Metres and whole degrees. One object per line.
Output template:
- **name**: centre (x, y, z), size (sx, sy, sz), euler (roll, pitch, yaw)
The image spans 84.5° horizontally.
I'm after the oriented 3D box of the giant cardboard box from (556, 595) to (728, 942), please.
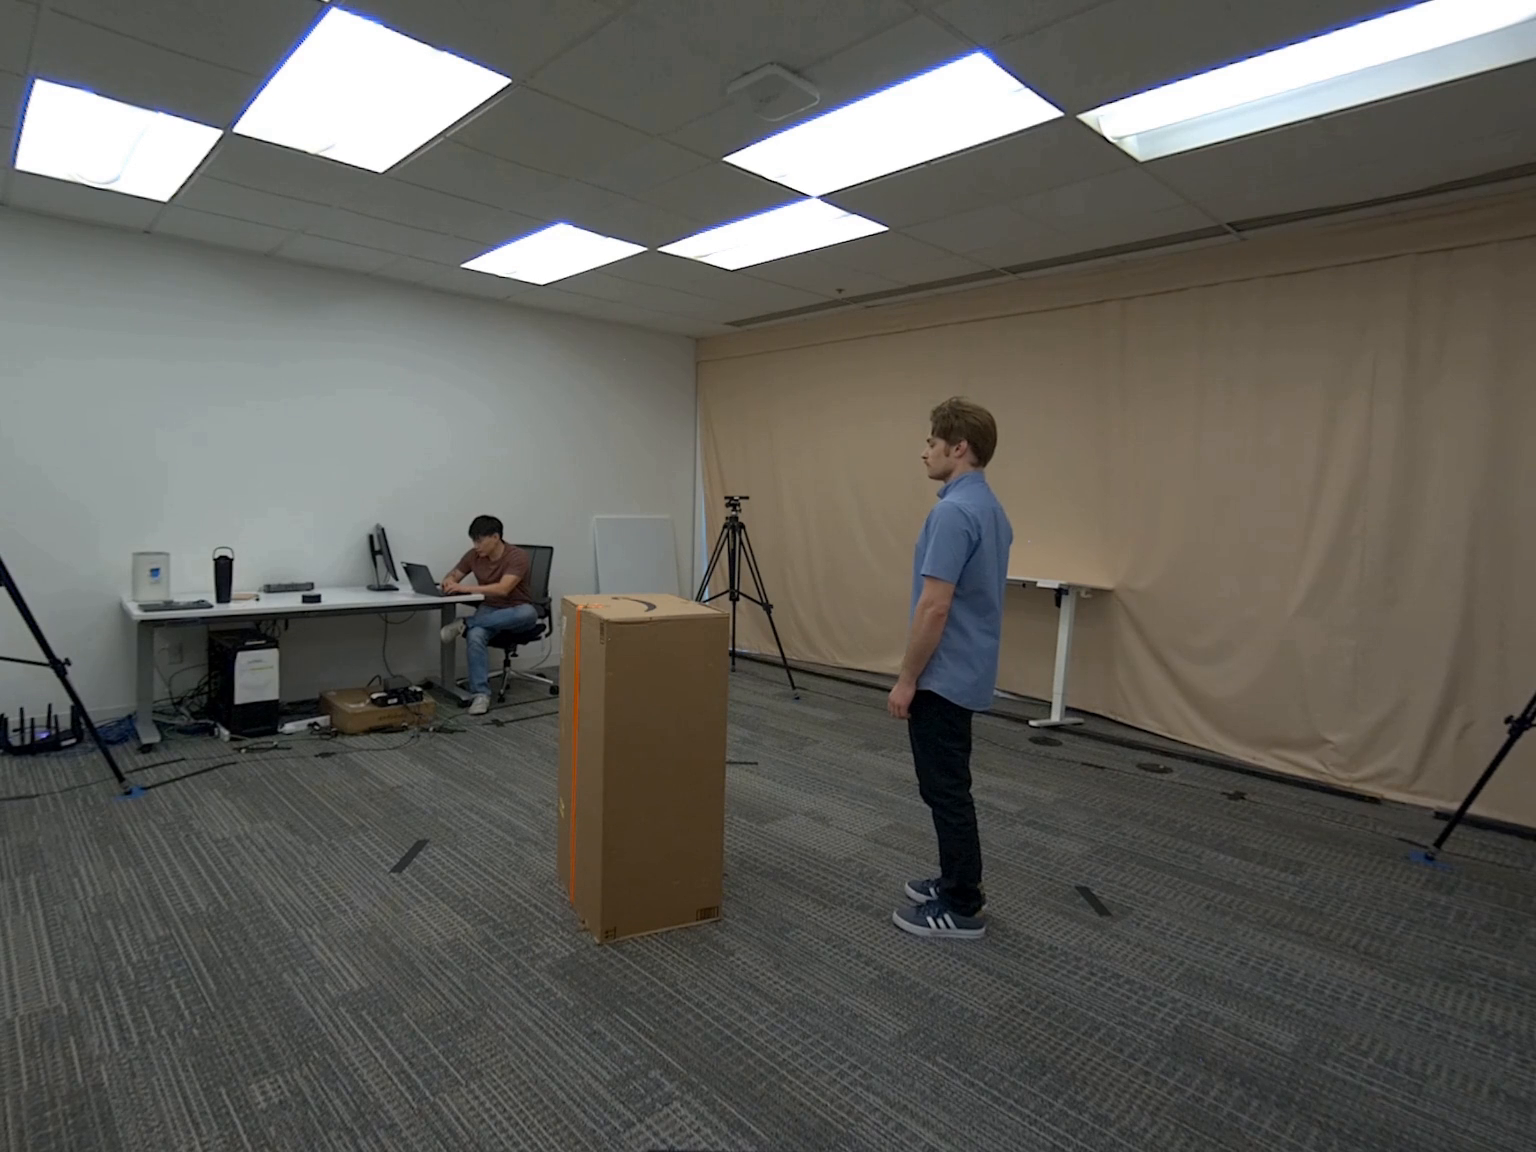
- **giant cardboard box**: centre (-0.457, 0.606, 2.912), size (0.418, 1.023, 0.590), euler (0, 4, -26)
